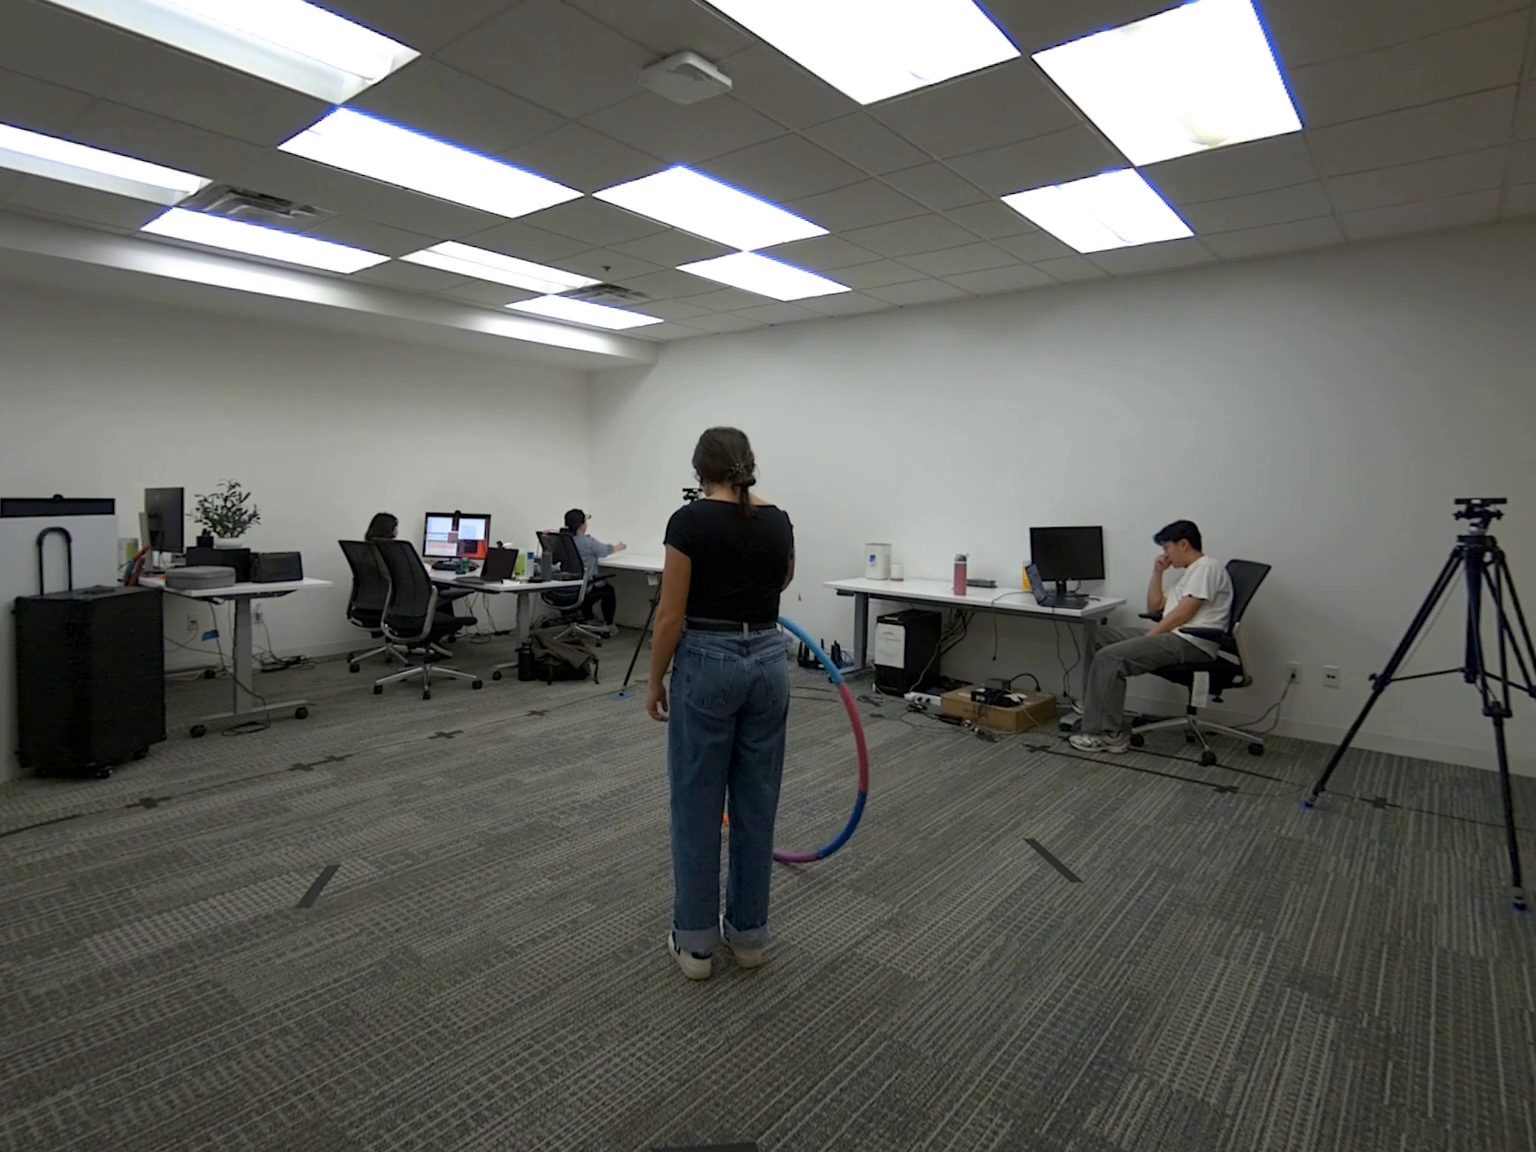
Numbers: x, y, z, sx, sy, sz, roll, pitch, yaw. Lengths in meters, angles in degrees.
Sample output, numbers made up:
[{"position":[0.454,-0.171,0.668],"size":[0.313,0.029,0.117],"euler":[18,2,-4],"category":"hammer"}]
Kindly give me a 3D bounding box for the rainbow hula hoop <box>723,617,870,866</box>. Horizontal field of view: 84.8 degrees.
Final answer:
[{"position":[-0.030,0.578,3.172],"size":[0.035,0.970,1.012],"euler":[-12,12,-43],"category":"rainbow hula hoop"}]
